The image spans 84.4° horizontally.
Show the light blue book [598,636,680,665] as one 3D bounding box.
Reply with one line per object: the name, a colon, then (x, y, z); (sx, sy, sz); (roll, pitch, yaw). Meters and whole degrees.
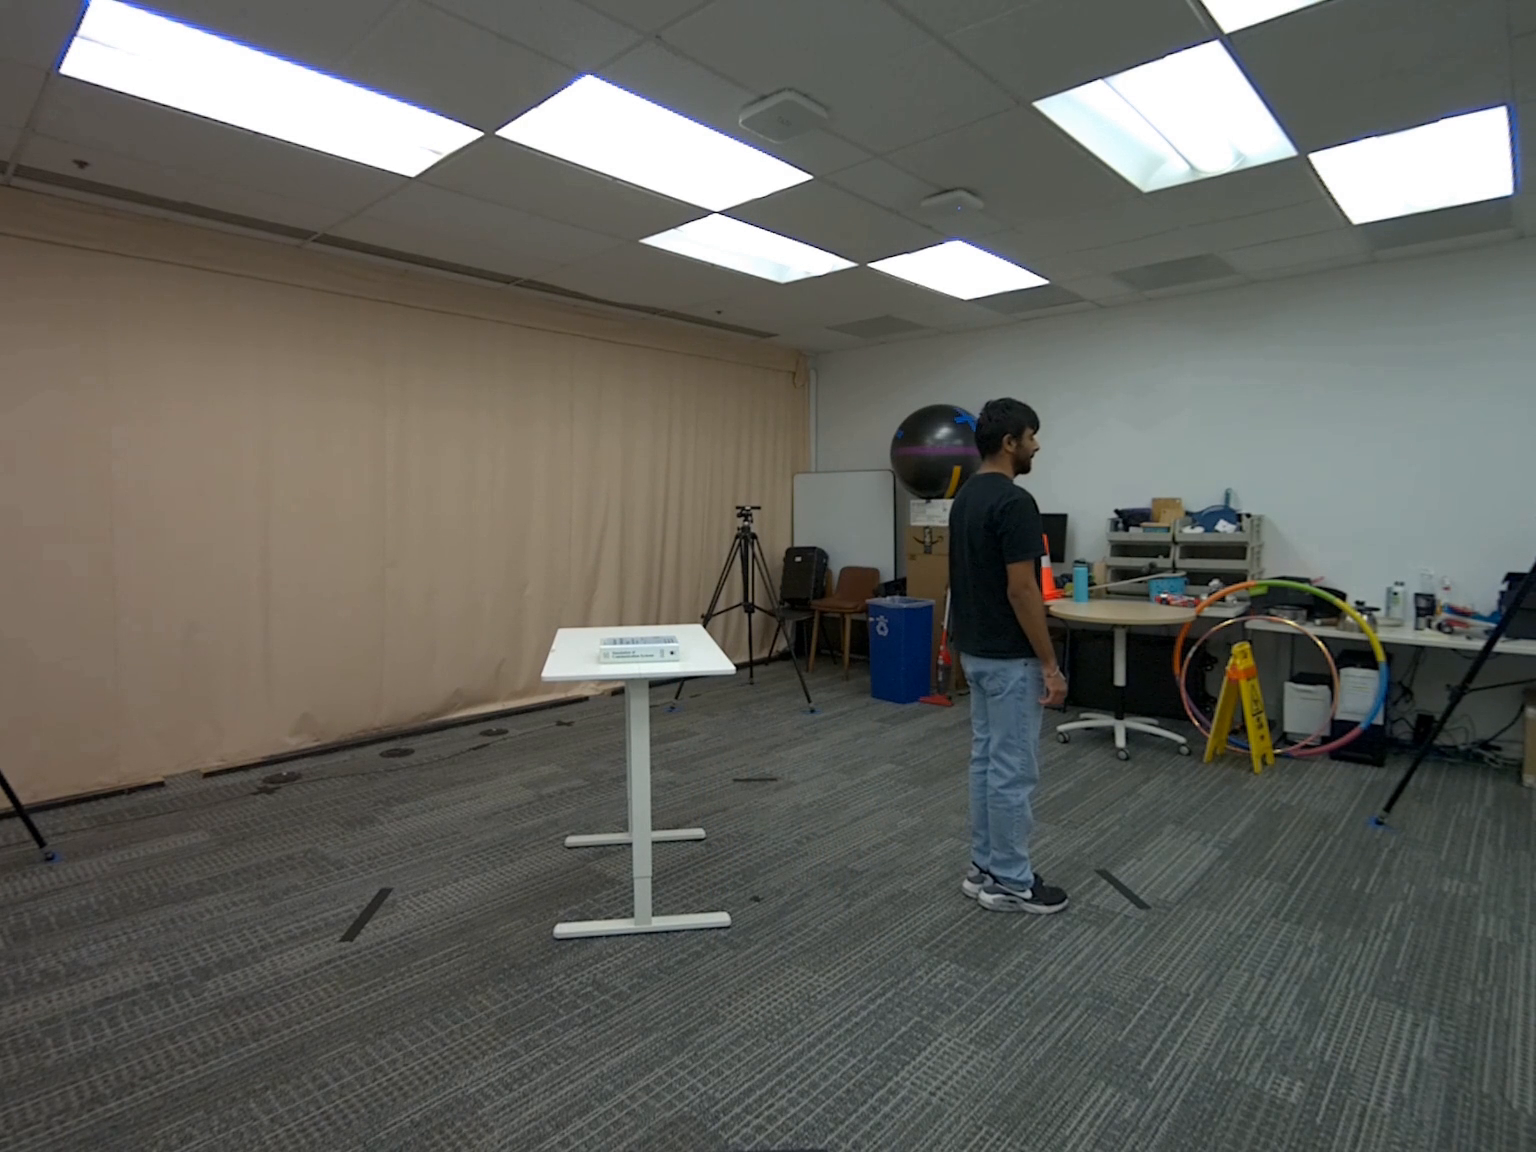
light blue book: (-0.434, 0.255, 2.851); (0.259, 0.059, 0.193); (-1, 5, -7)
